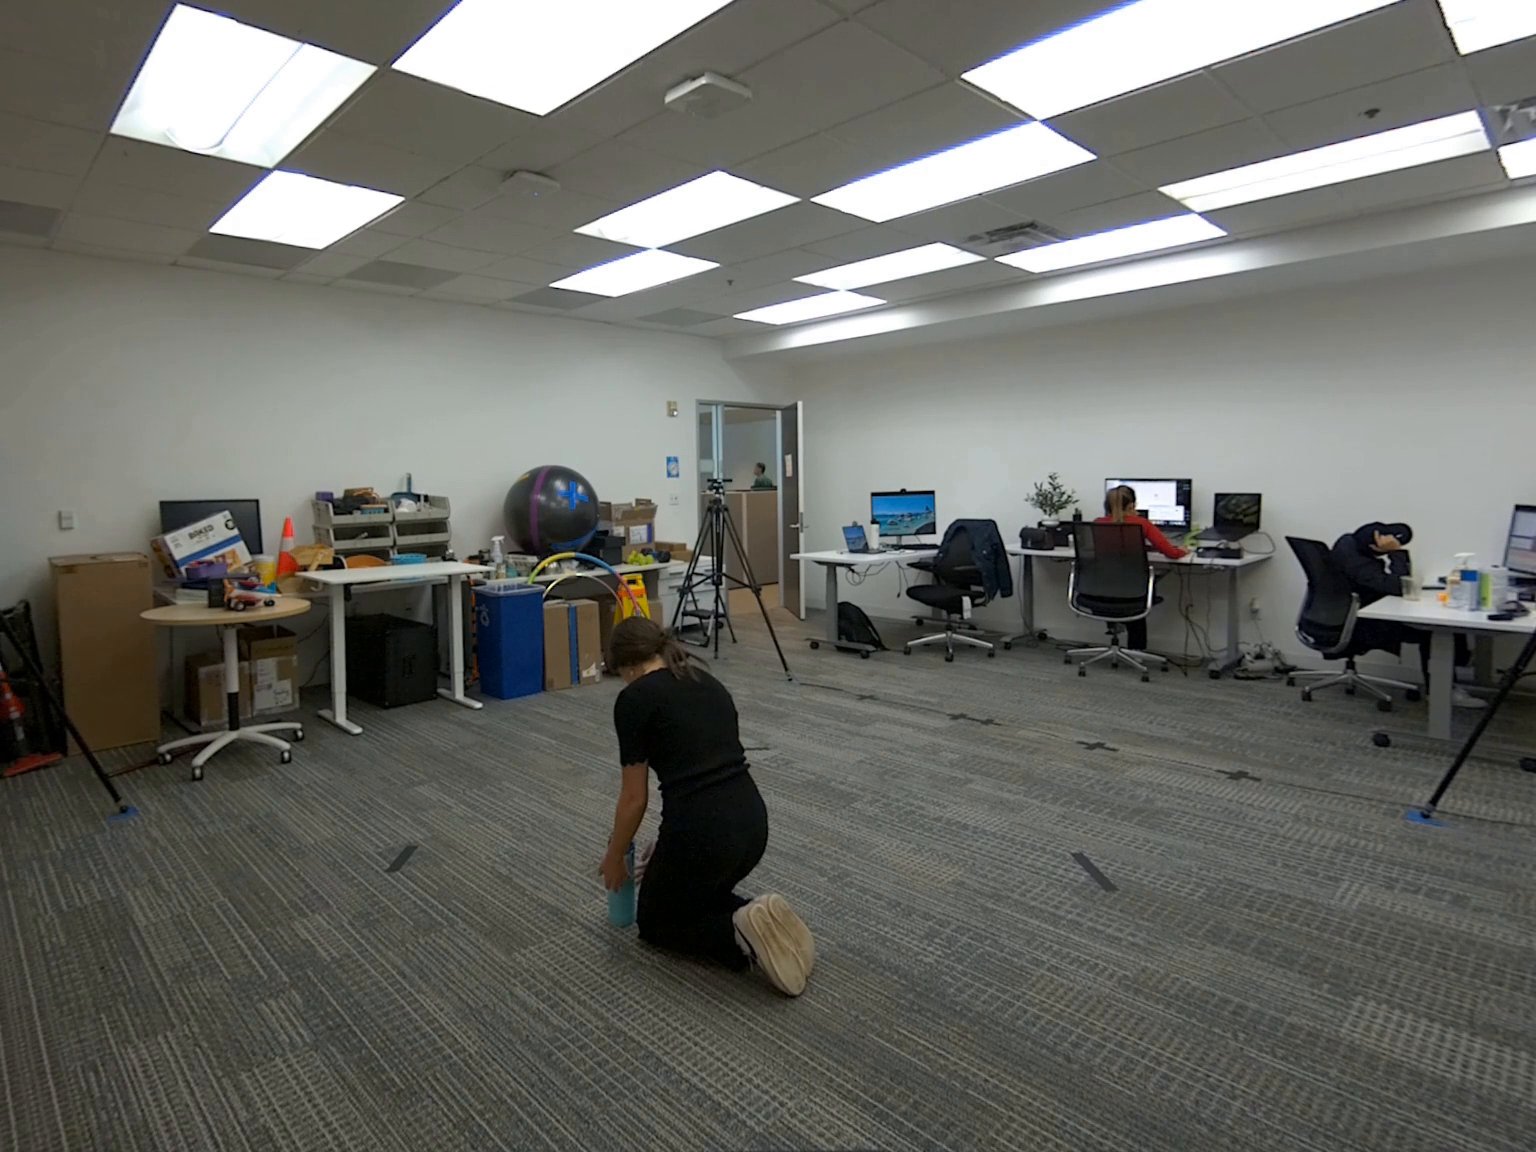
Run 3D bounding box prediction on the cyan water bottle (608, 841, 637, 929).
[{"bbox_3d":[-0.459,0.960,2.716,0.092,0.283,0.092,-1,3,-2],"label":"cyan water bottle"}]
